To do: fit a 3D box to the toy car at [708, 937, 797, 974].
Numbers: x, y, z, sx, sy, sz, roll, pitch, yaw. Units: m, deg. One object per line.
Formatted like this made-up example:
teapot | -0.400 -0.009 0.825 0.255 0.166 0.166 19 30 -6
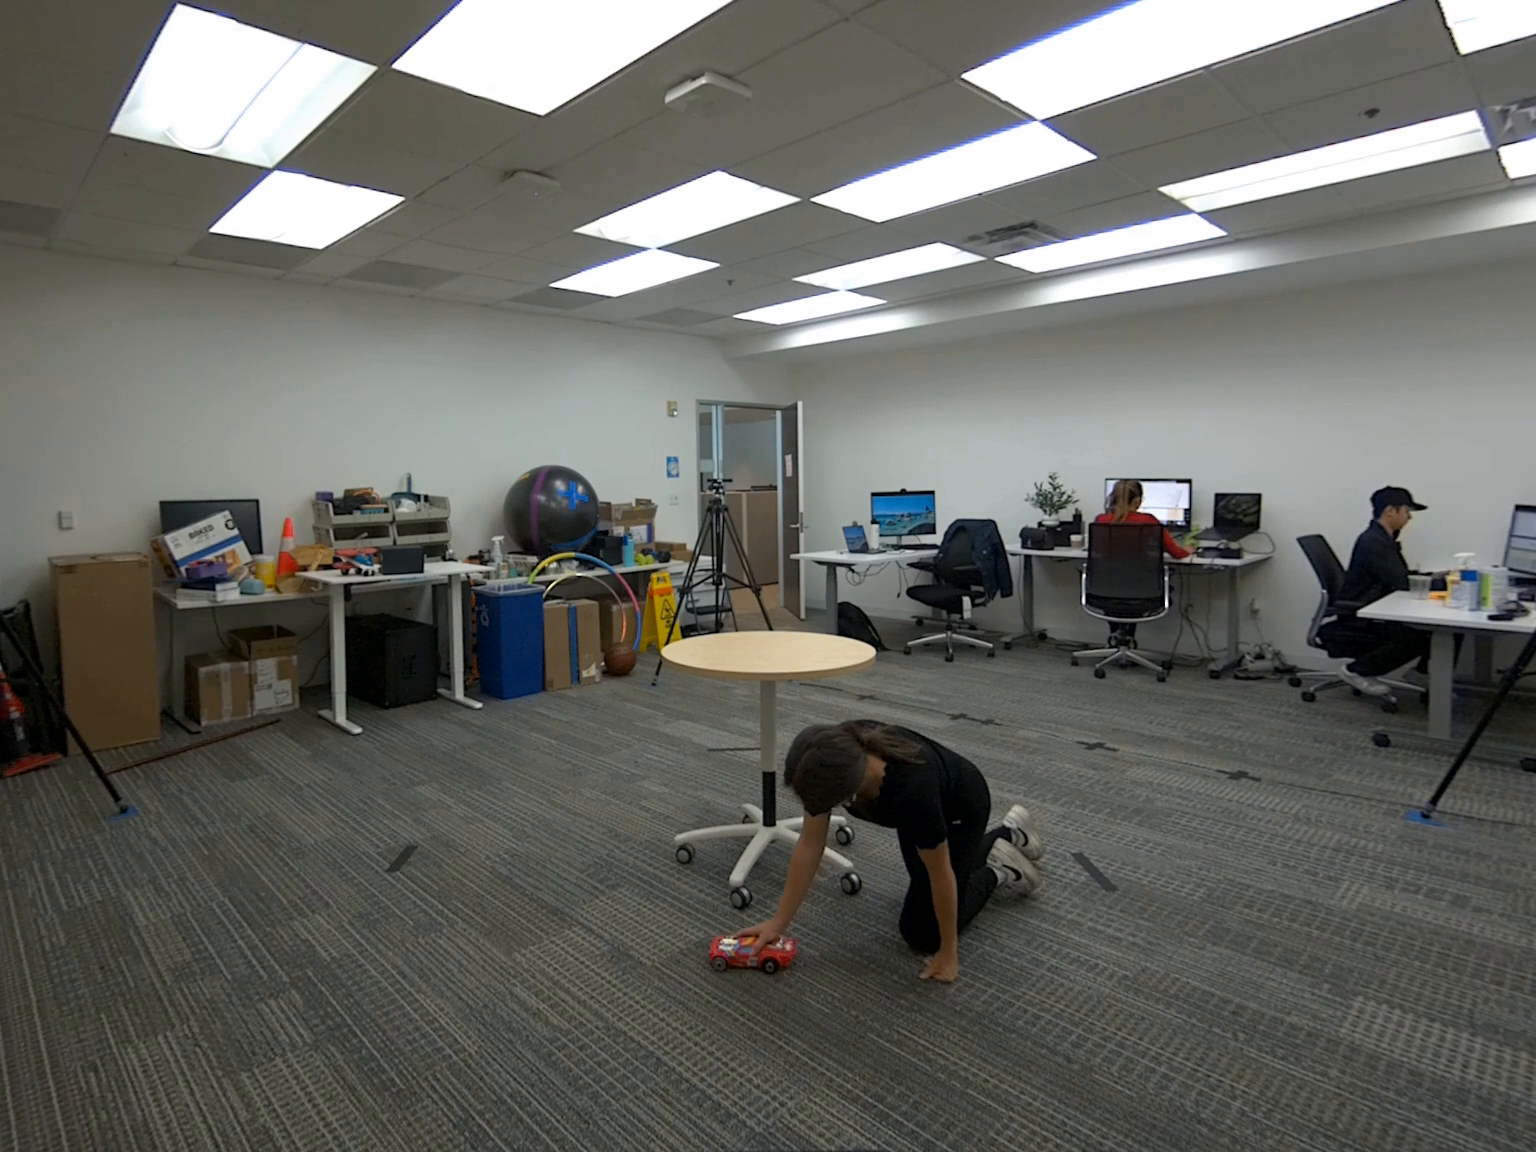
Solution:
toy car | -0.034 1.089 2.471 0.256 0.083 0.130 -11 2 6
